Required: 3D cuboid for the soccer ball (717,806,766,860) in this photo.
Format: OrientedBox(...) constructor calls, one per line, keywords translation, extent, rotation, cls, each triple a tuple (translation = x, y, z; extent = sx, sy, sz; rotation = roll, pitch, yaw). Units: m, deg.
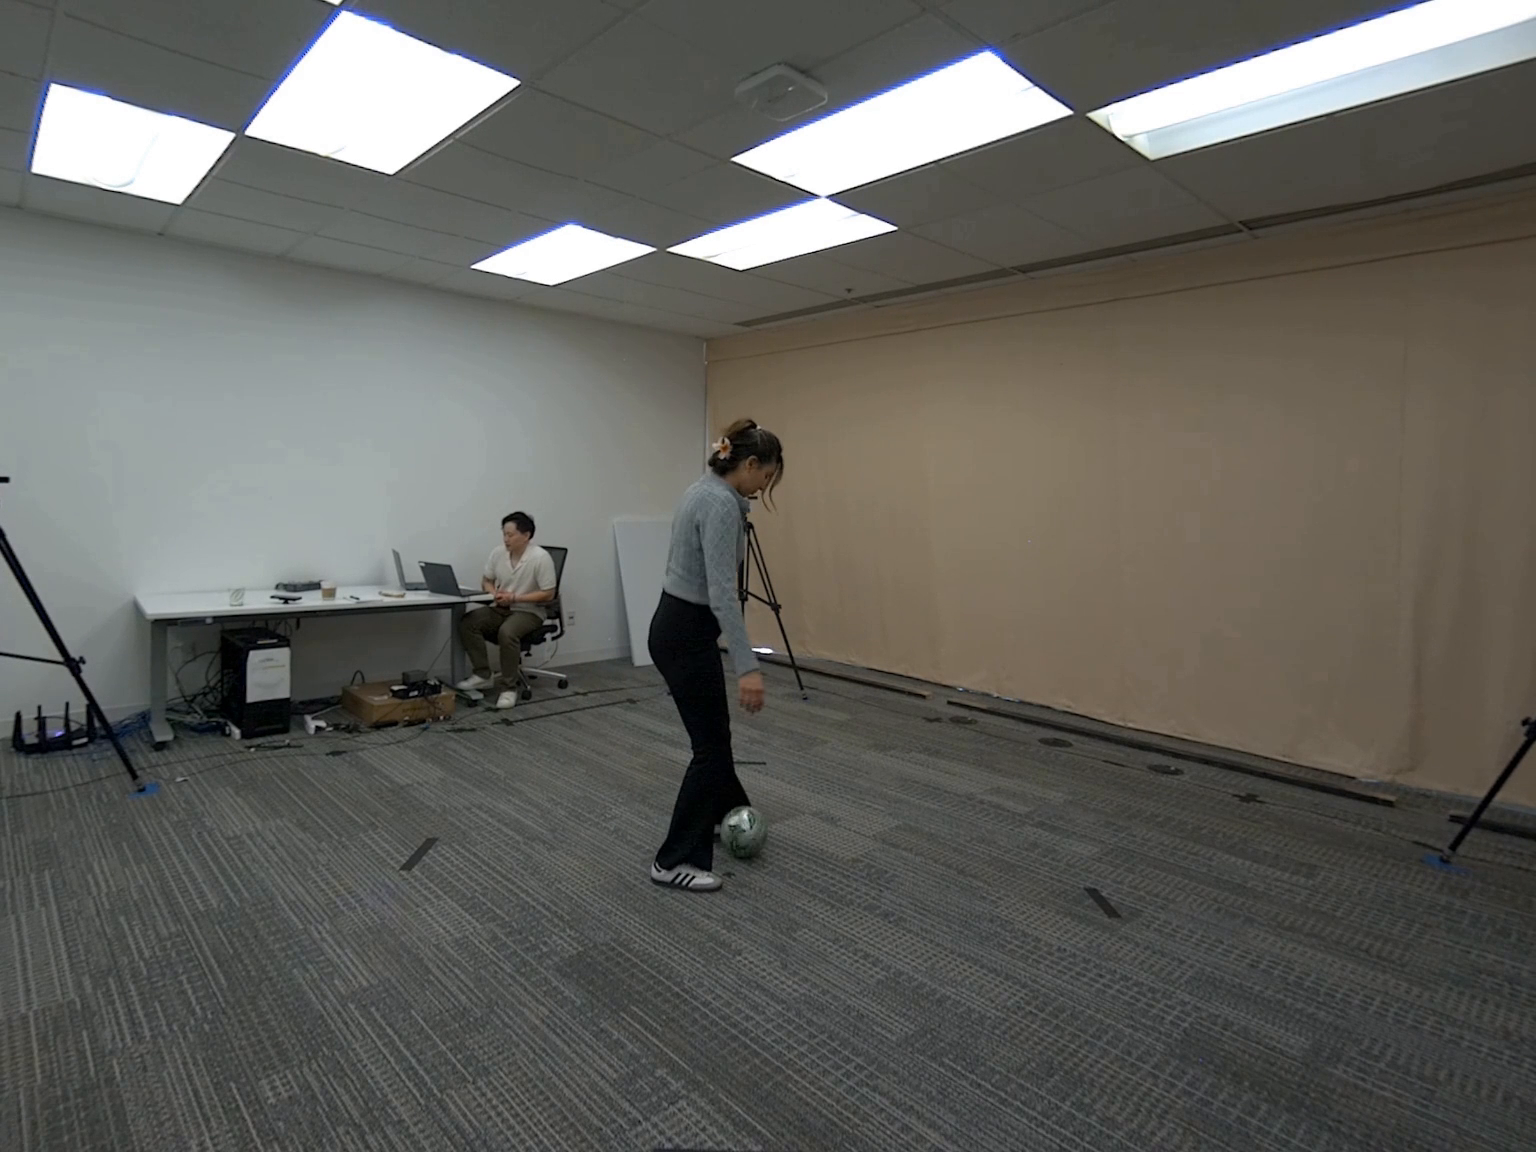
OrientedBox(translation=(-0.108, 0.999, 3.239), extent=(0.187, 0.187, 0.188), rotation=(1, 4, -1), cls="soccer ball")
